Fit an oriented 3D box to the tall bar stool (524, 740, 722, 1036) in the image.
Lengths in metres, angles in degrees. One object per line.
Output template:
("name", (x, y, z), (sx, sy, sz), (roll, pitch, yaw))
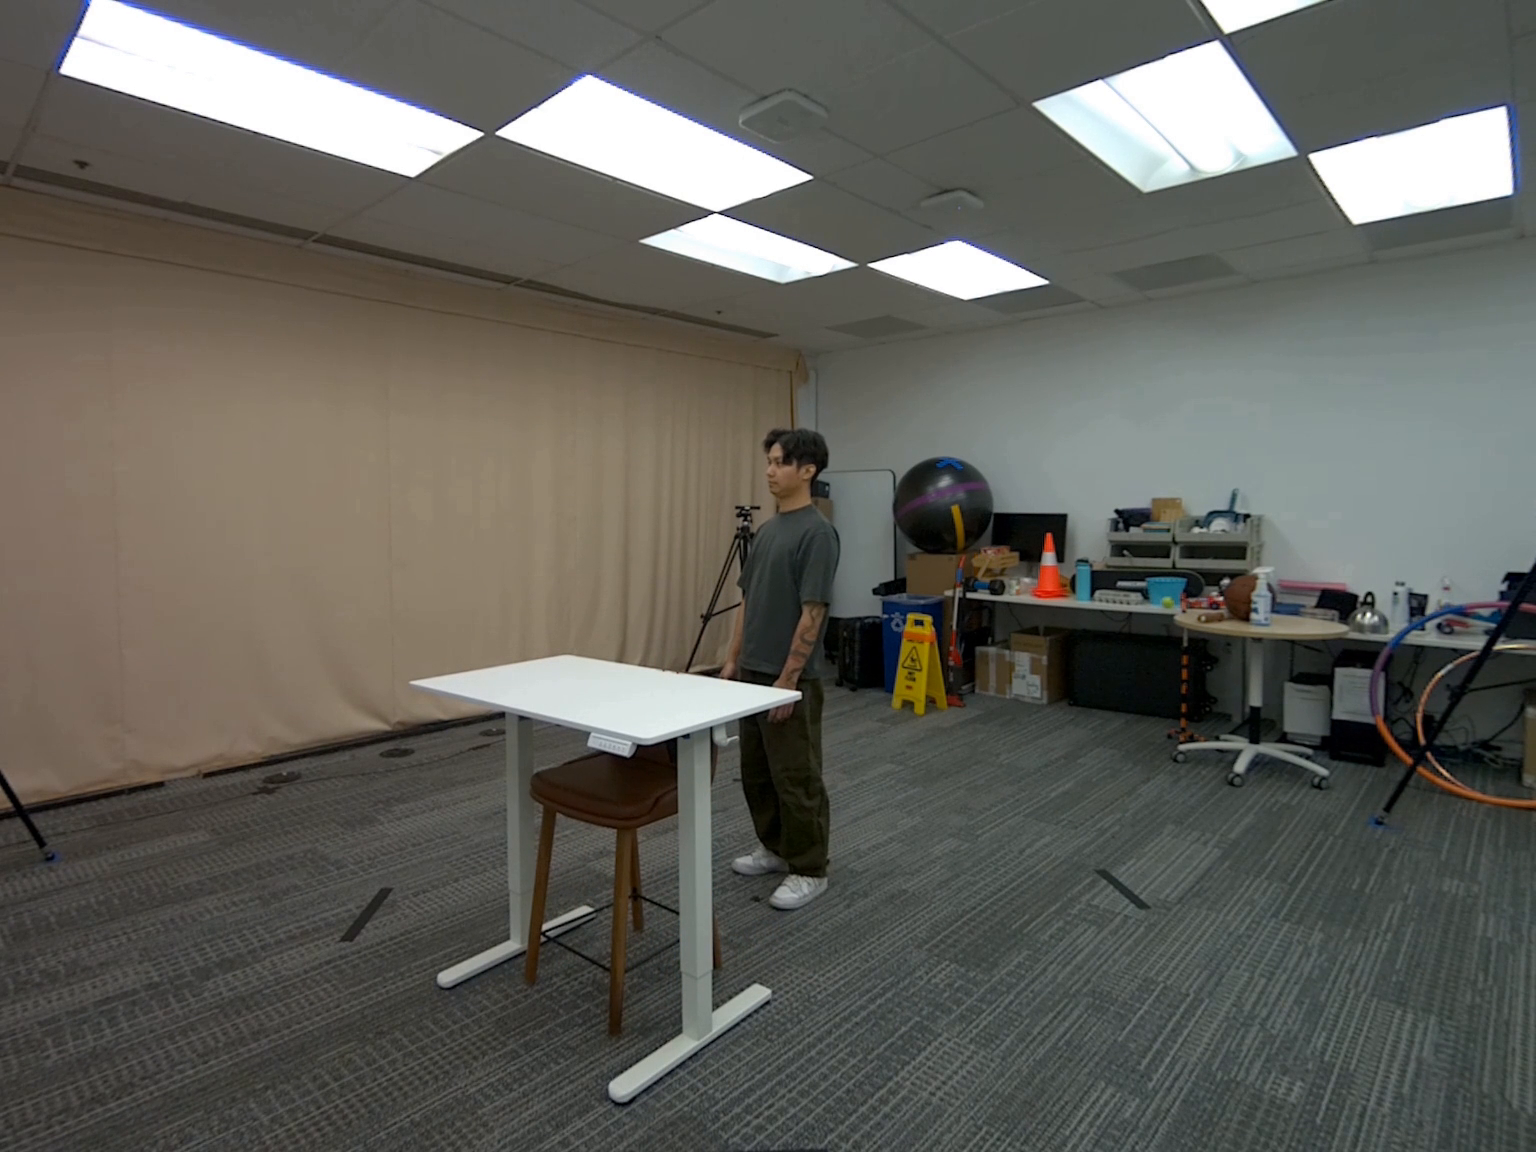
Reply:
("tall bar stool", (-0.413, 0.755, 2.481), (0.471, 0.889, 0.453), (3, 2, 40))
